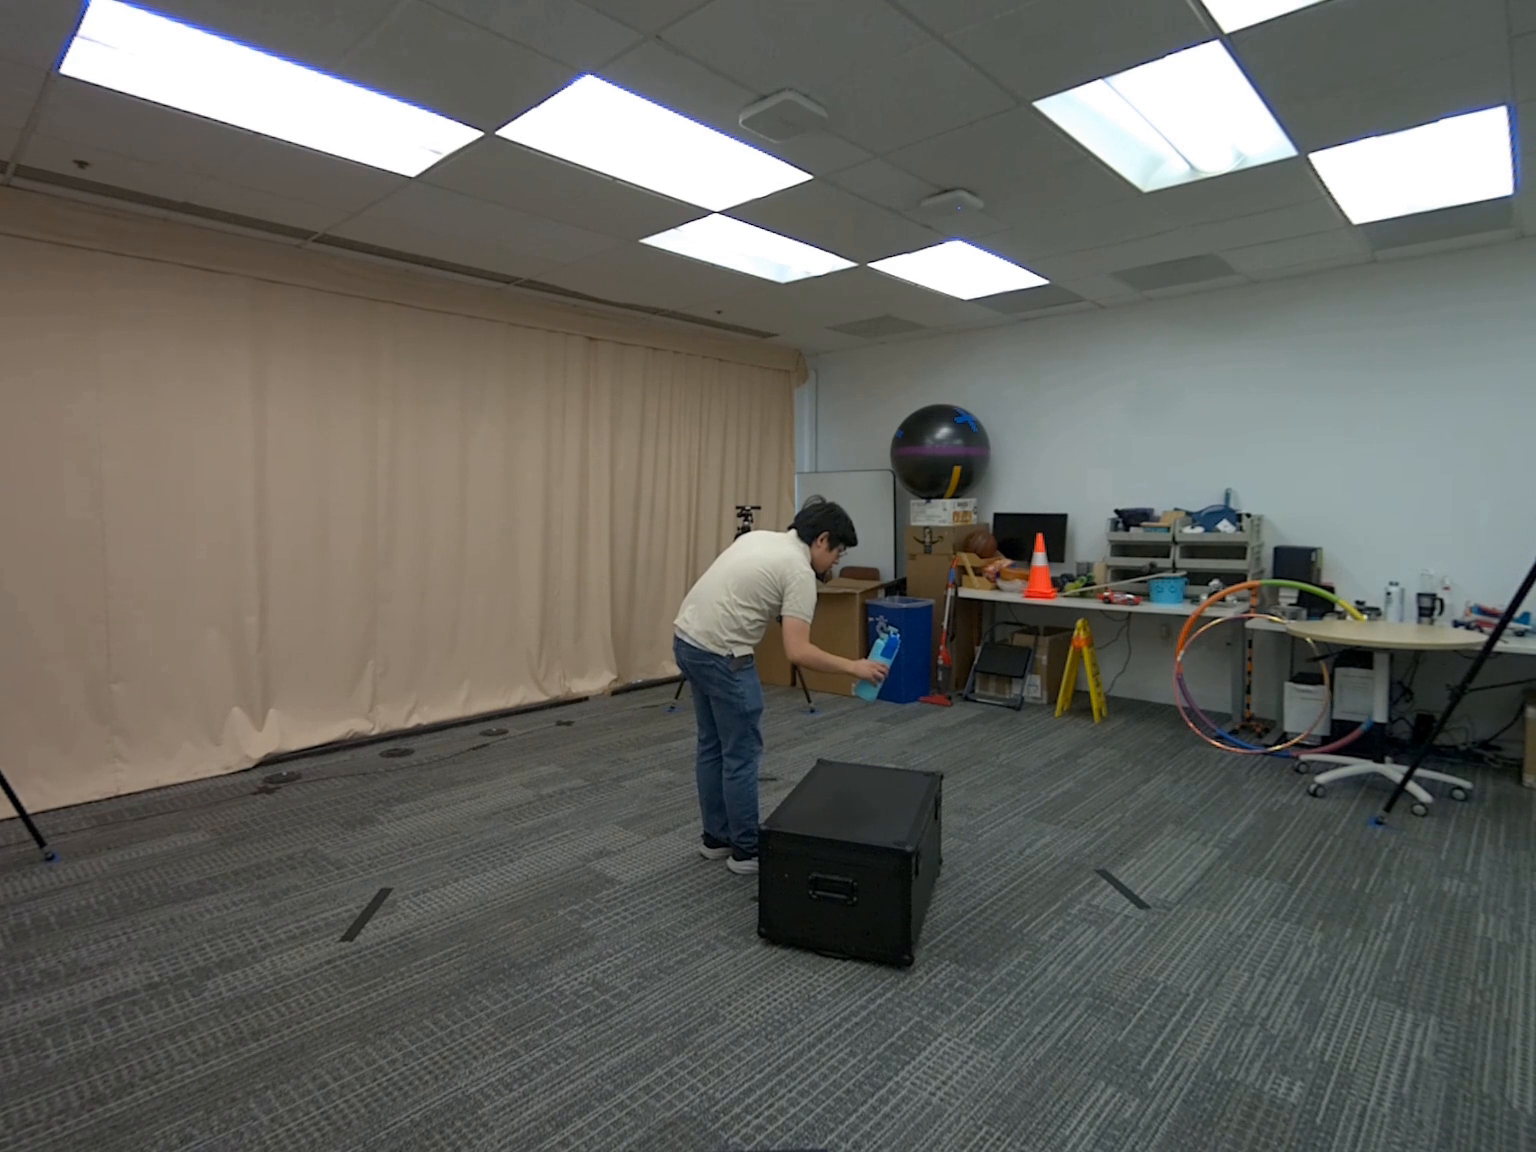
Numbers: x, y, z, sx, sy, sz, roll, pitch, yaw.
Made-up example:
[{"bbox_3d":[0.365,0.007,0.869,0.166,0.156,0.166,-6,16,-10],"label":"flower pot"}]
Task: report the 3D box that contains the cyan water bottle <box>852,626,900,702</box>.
[{"bbox_3d":[0.429,0.333,3.190,0.092,0.283,0.093,24,9,-6],"label":"cyan water bottle"}]
